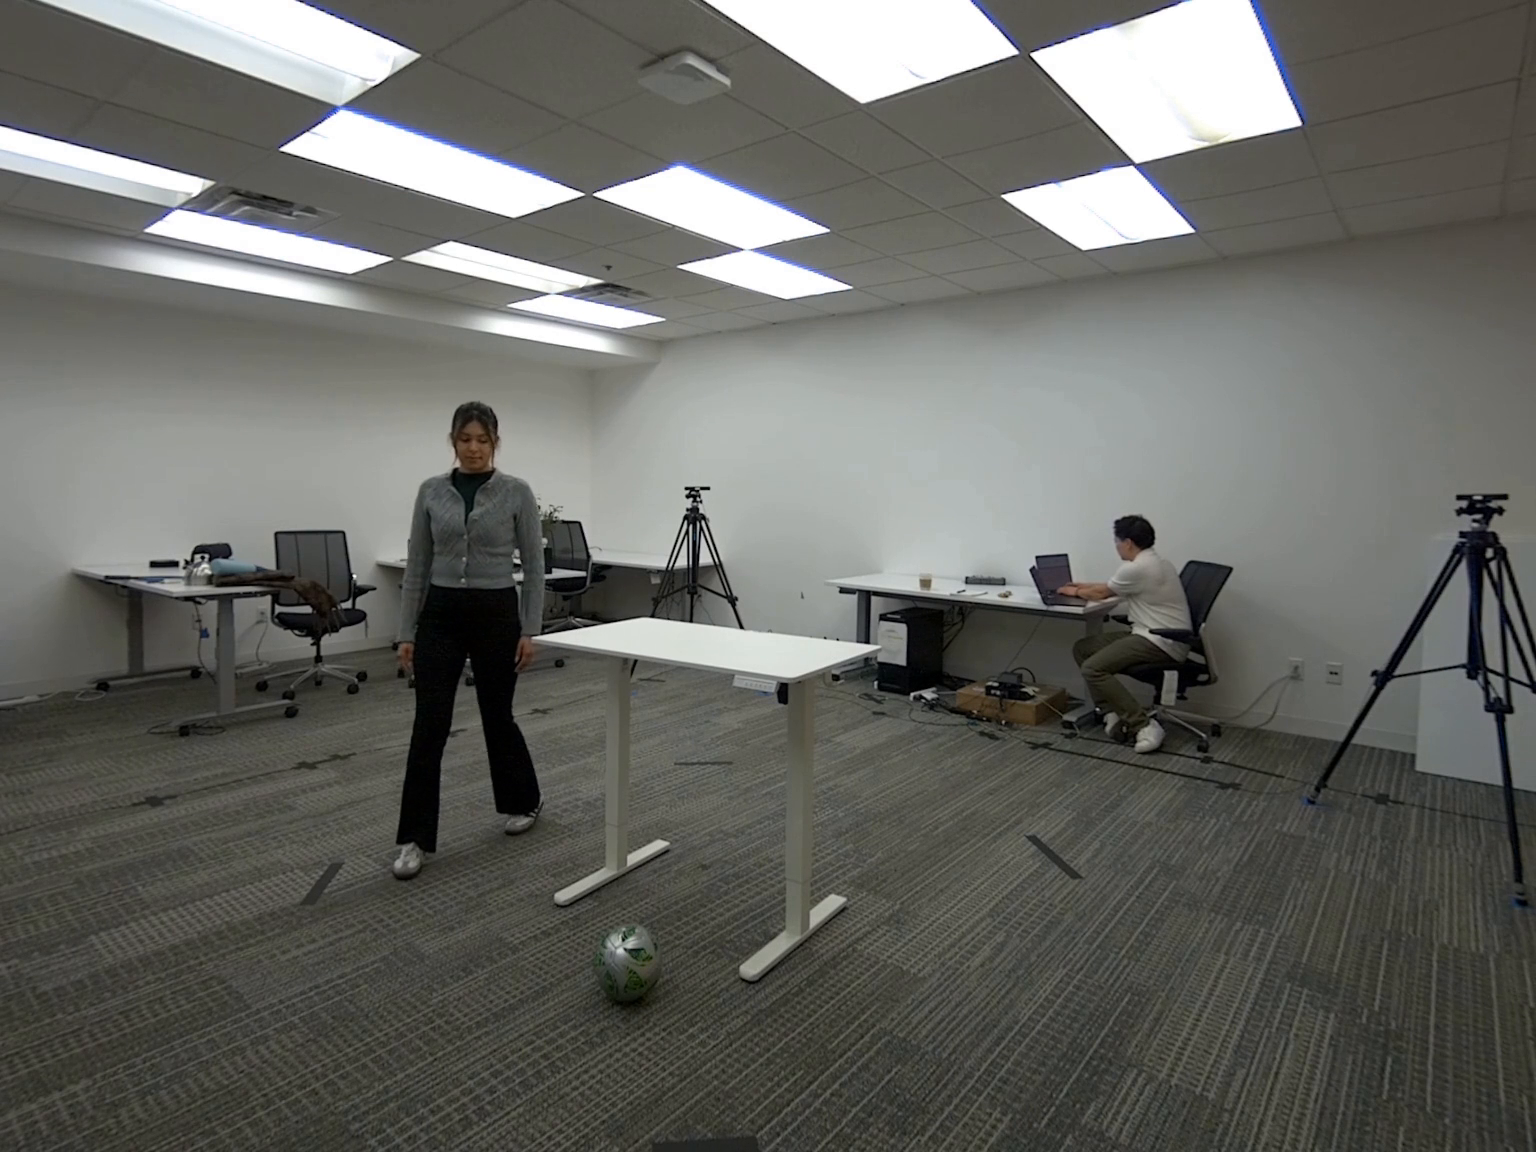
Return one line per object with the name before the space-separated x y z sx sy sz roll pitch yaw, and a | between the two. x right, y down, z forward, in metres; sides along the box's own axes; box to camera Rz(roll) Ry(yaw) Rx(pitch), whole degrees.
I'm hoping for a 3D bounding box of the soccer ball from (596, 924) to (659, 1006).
soccer ball | -0.385 1.049 2.310 0.187 0.187 0.188 0 4 -2
